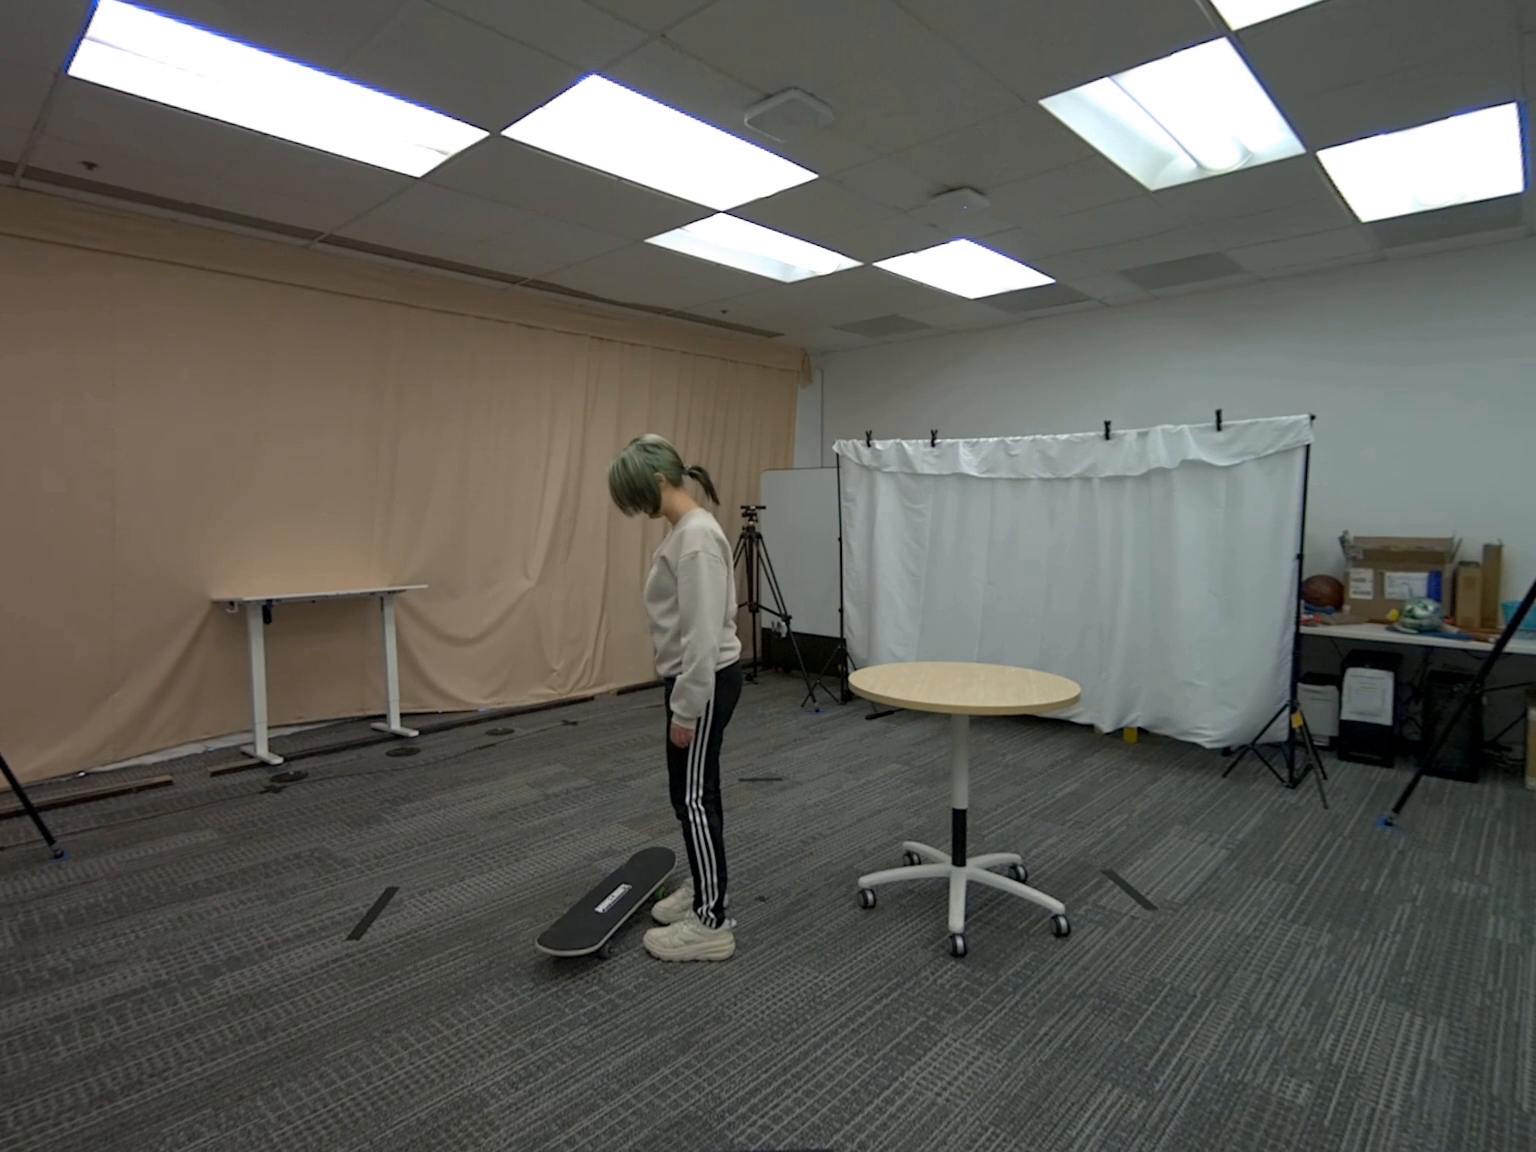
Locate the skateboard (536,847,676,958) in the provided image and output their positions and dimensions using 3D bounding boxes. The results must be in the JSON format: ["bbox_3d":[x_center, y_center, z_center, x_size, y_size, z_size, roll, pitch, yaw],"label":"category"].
[{"bbox_3d":[-0.514,1.104,2.801,0.197,0.110,0.771,1,5,18],"label":"skateboard"}]
